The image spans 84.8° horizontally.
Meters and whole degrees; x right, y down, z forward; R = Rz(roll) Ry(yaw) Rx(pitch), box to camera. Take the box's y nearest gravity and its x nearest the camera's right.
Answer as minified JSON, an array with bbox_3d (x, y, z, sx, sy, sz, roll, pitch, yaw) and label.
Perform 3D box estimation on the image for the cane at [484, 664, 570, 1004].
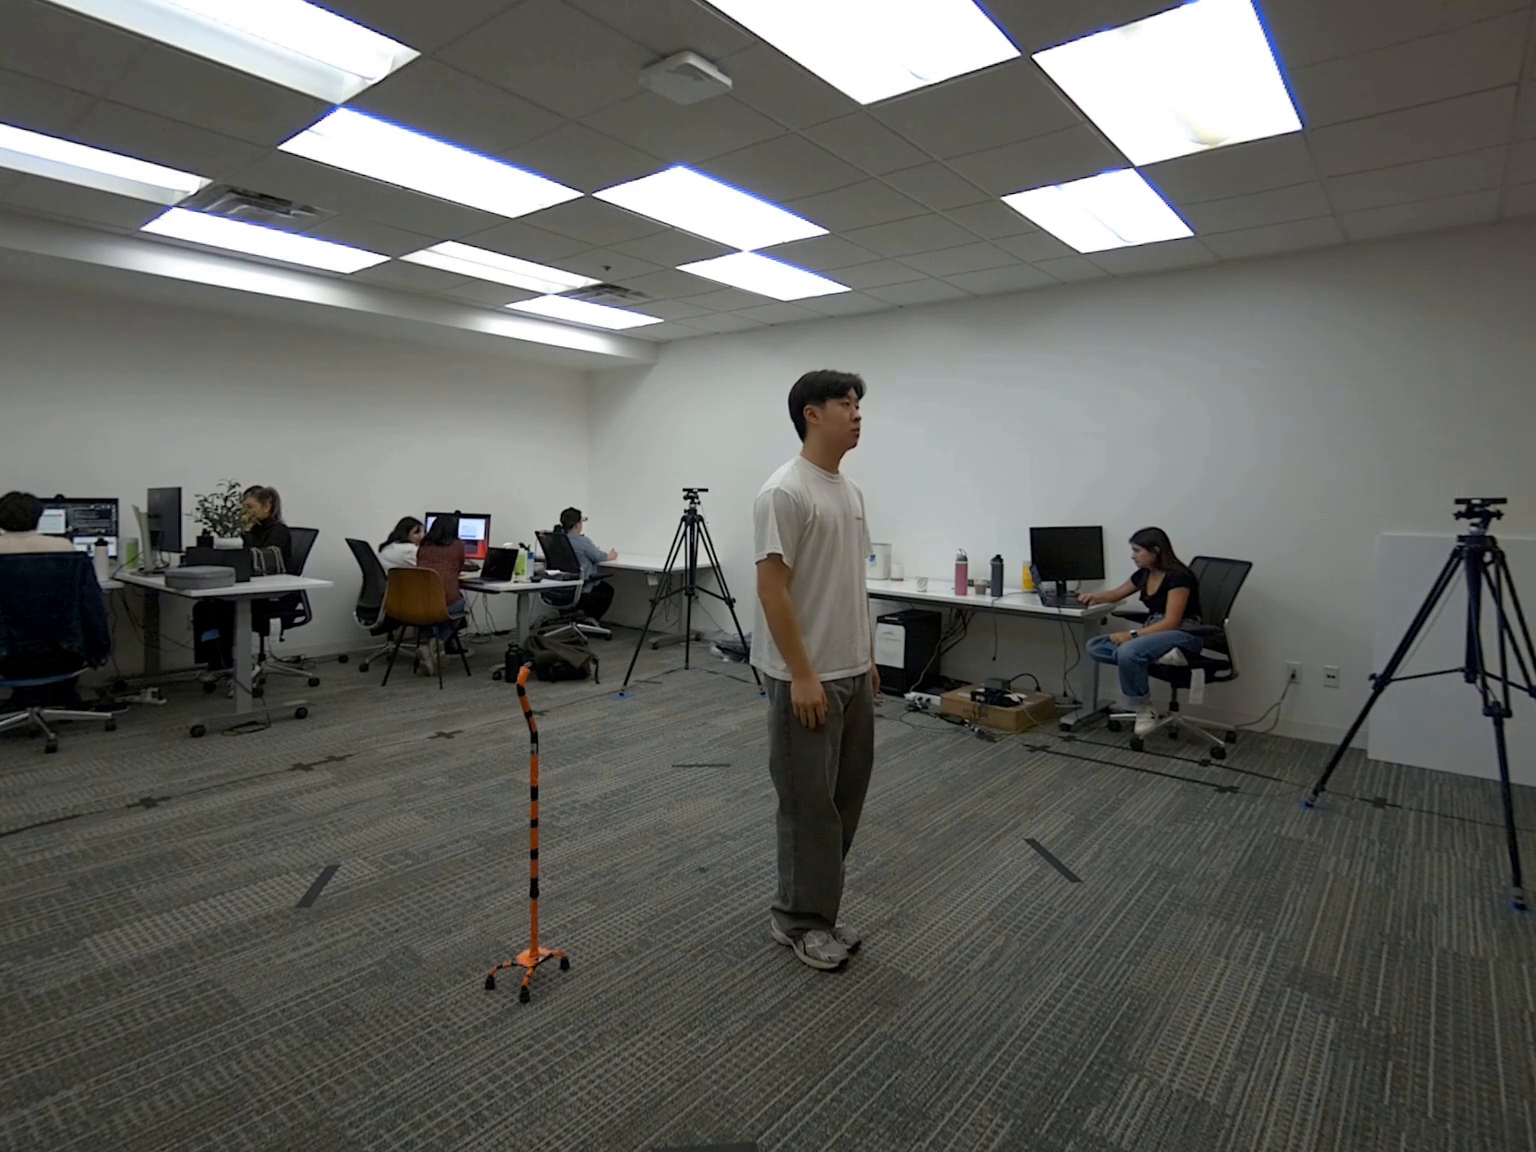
[{"bbox_3d":[-0.676,0.681,2.389,0.155,0.905,0.202,2,3,25],"label":"cane"}]
